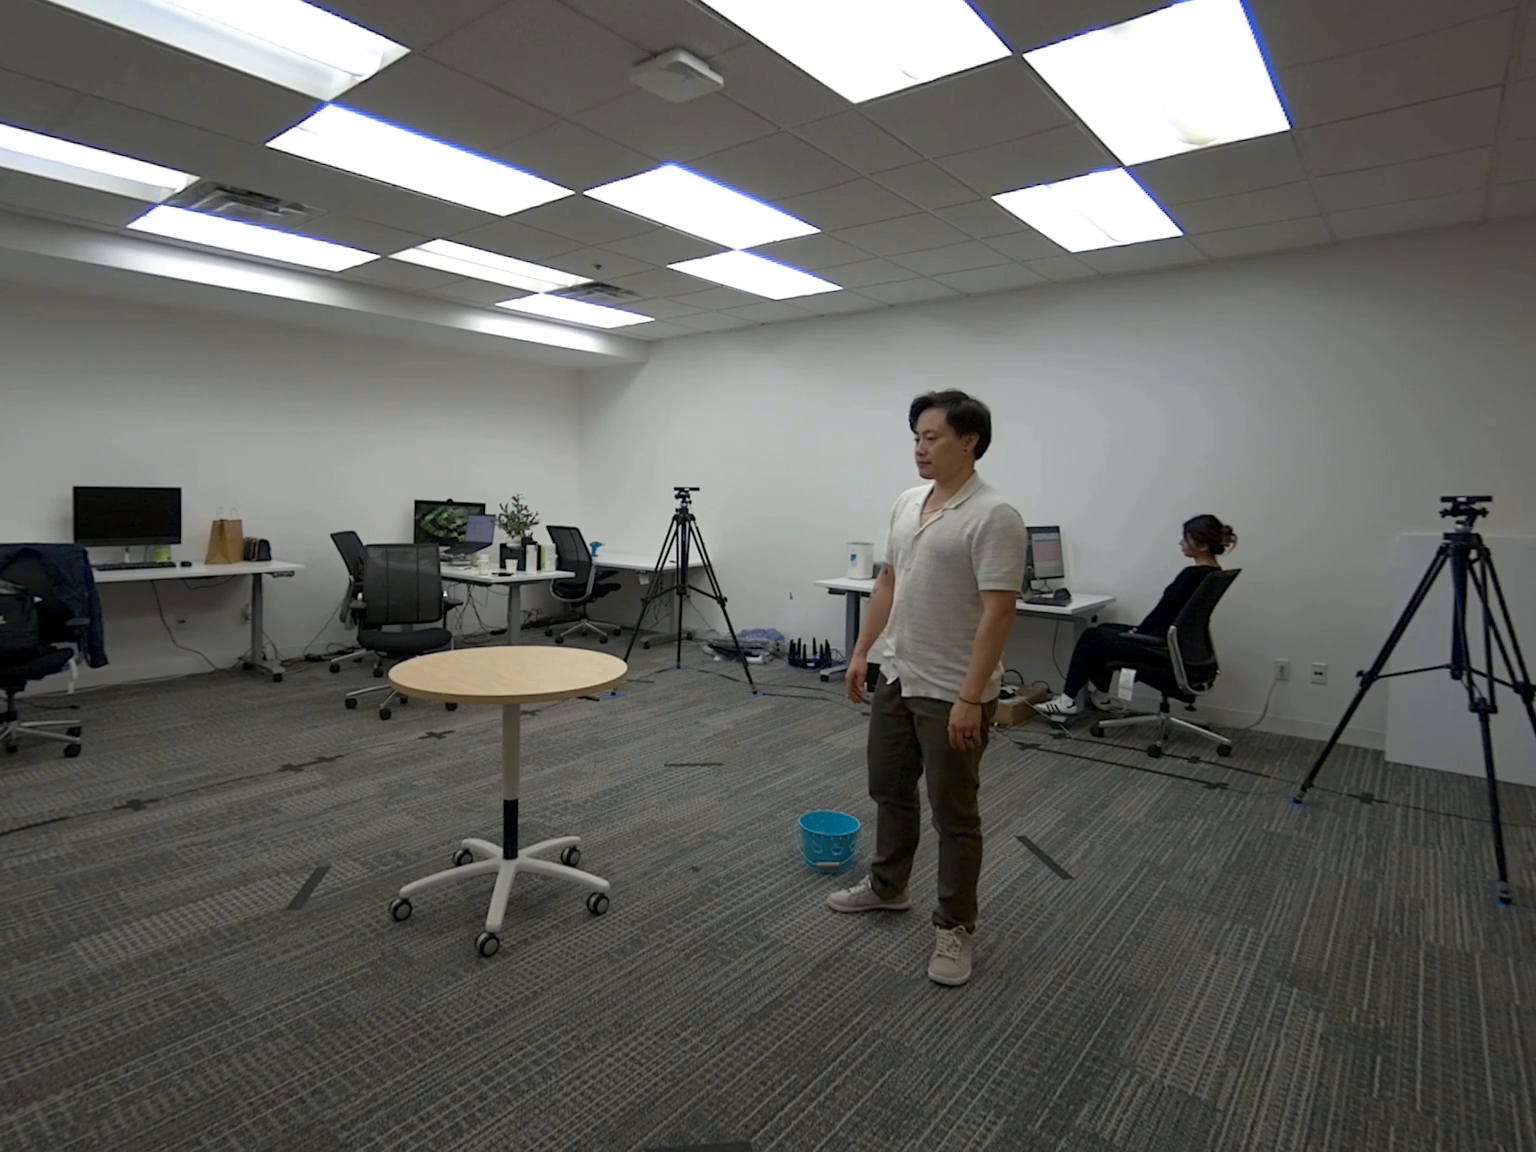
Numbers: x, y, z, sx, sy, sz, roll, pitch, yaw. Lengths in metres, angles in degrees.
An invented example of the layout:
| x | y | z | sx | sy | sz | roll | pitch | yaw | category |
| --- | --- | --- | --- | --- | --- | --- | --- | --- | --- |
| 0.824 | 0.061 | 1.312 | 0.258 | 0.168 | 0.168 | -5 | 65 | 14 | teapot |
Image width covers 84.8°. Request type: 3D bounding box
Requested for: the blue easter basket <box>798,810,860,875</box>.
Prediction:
| x | y | z | sx | sy | sz | roll | pitch | yaw | category |
| --- | --- | --- | --- | --- | --- | --- | --- | --- | --- |
| 0.214 | 0.991 | 3.181 | 0.243 | 0.155 | 0.245 | 1 | 4 | -2 | blue easter basket |
